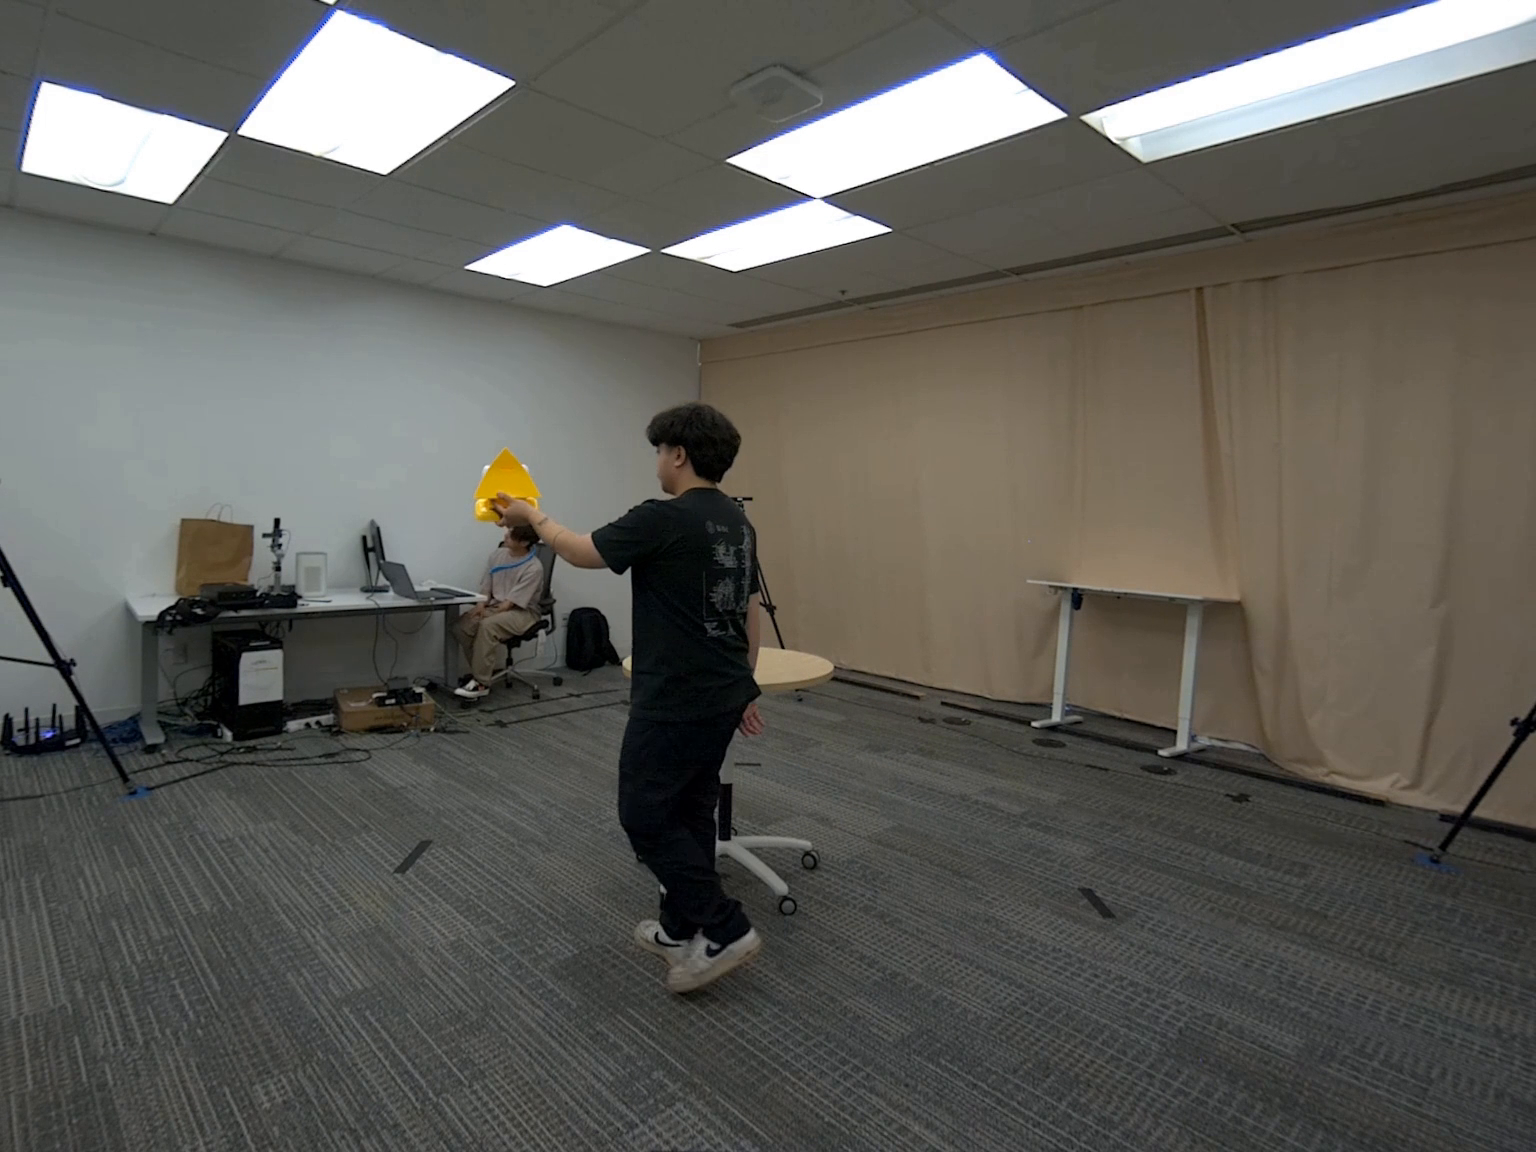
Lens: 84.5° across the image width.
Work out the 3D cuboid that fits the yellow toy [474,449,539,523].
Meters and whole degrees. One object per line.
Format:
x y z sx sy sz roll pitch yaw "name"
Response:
-0.840 -0.300 2.663 0.202 0.228 0.197 -3 16 -17 "yellow toy"
